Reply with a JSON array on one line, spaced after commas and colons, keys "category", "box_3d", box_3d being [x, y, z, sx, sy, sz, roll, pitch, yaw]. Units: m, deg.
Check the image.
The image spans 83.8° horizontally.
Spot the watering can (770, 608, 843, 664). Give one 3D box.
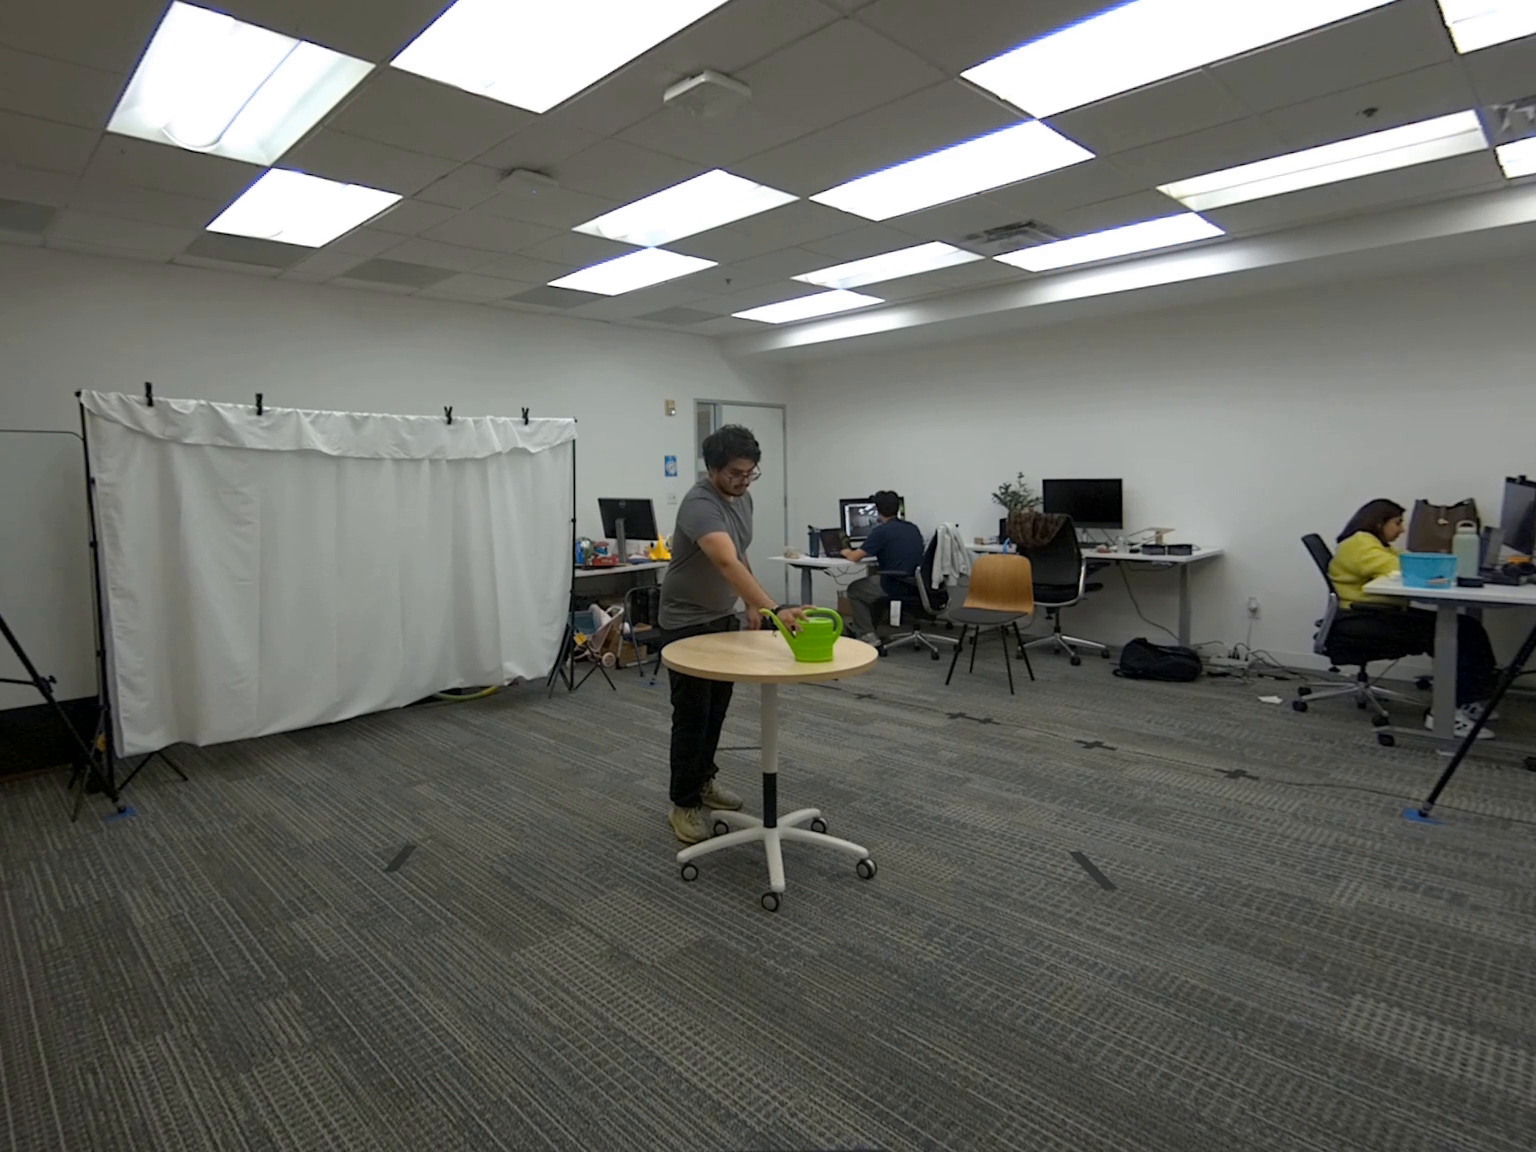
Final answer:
[{"category": "watering can", "box_3d": [0.122, 0.198, 2.883, 0.280, 0.176, 0.098, 3, 5, 5]}]
